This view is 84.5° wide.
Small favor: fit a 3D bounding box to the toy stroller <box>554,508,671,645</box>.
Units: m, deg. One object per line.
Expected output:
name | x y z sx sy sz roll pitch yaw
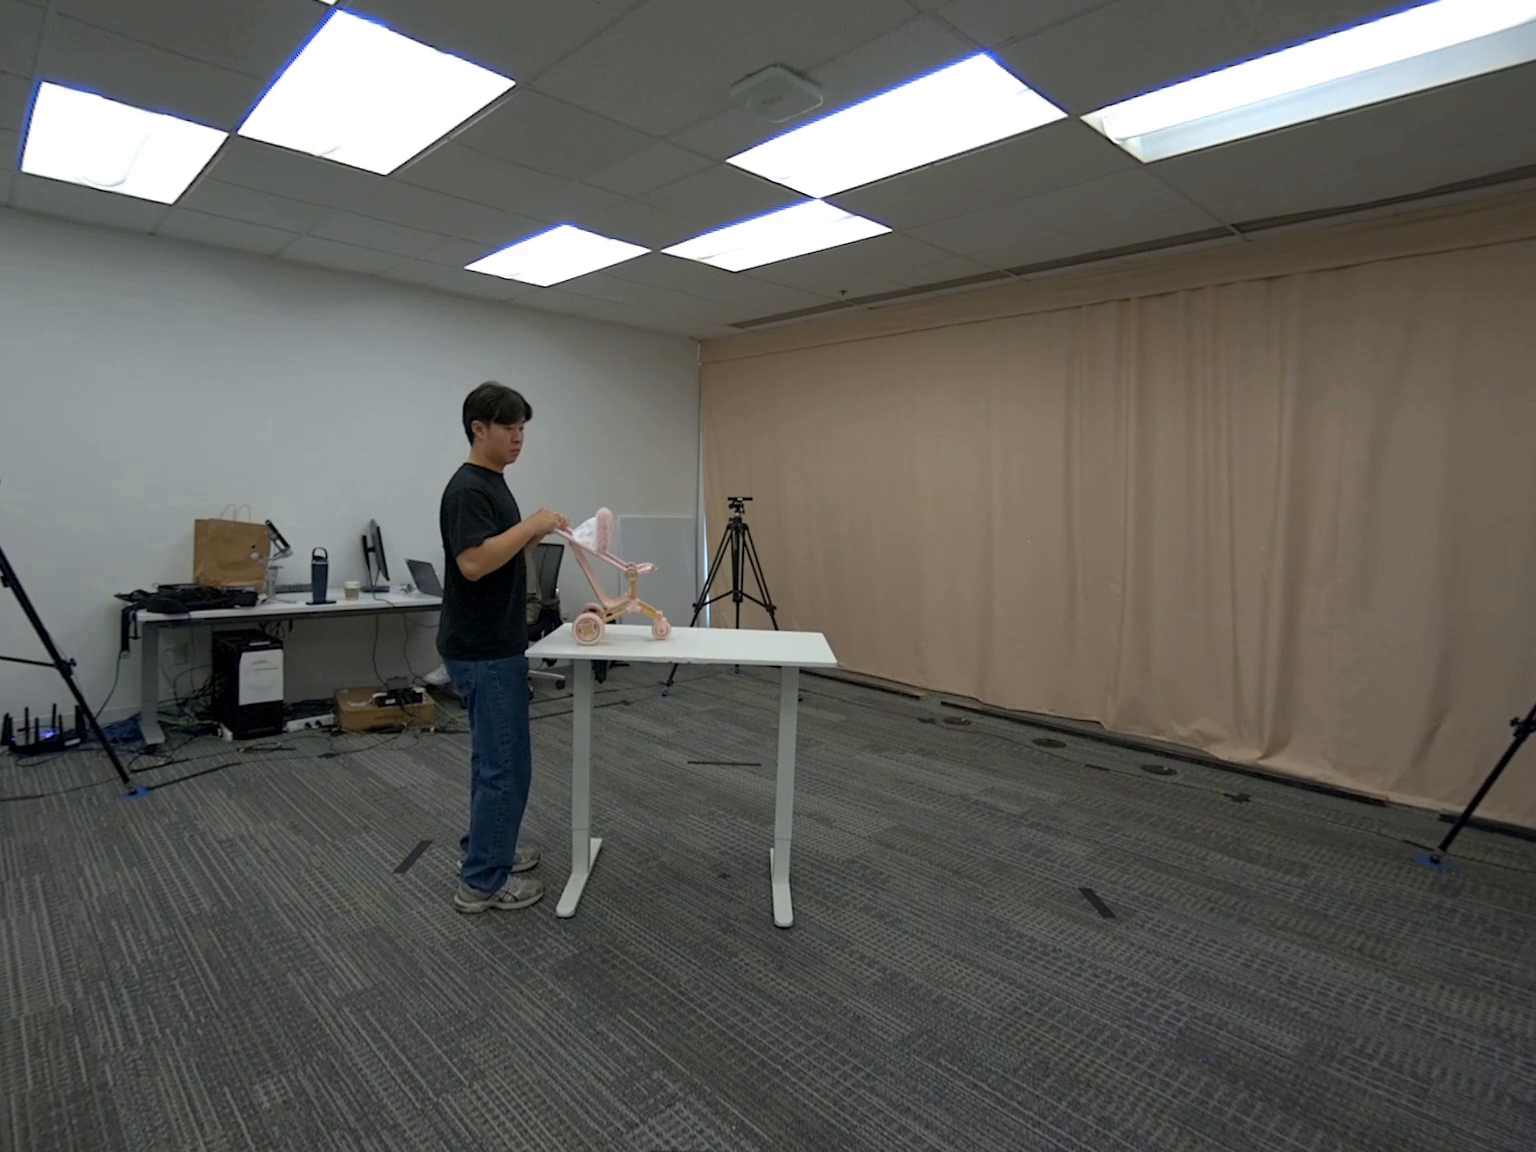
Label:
toy stroller | -0.562 0.001 2.952 0.341 0.533 0.283 -14 5 -3
